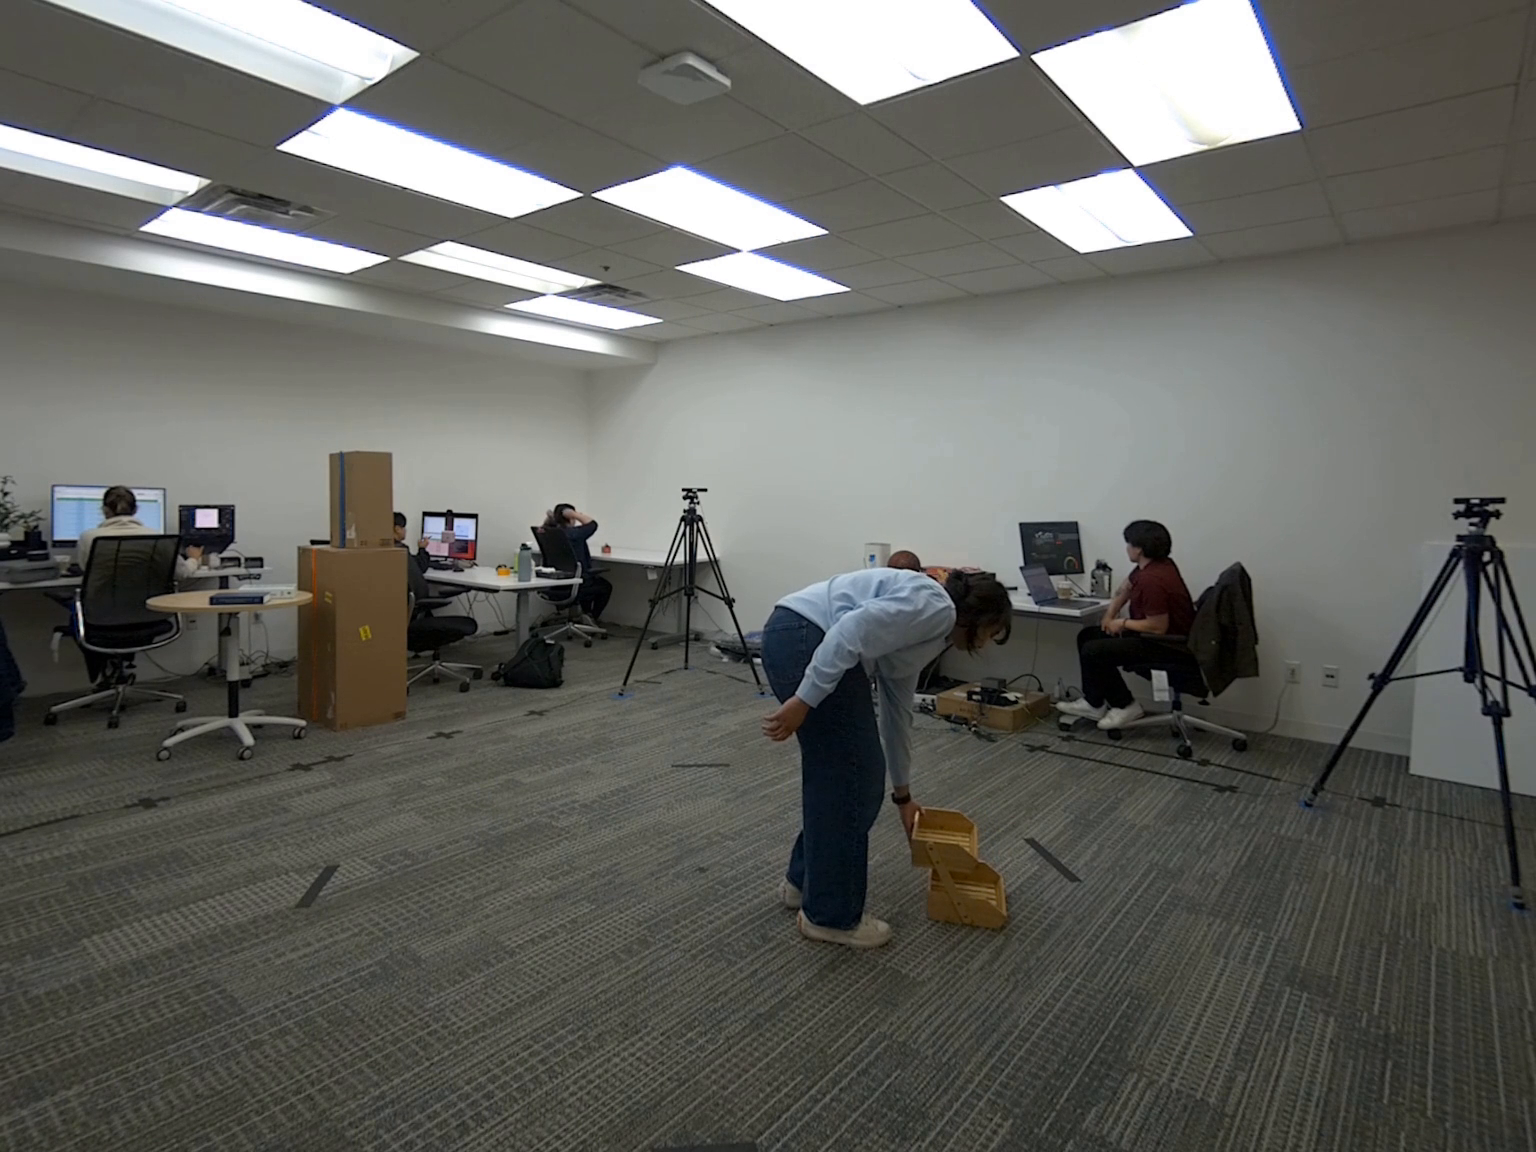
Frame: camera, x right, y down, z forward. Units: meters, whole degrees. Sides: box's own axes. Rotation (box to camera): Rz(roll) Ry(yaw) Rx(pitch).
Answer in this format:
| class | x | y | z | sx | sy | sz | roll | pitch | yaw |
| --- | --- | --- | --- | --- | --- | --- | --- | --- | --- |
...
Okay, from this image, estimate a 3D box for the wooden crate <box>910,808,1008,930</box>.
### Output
| class | x | y | z | sx | sy | sz | roll | pitch | yaw |
| --- | --- | --- | --- | --- | --- | --- | --- | --- | --- |
| wooden crate | 0.656 | 0.975 | 2.904 | 0.307 | 0.272 | 0.321 | 1 | 4 | 13 |
